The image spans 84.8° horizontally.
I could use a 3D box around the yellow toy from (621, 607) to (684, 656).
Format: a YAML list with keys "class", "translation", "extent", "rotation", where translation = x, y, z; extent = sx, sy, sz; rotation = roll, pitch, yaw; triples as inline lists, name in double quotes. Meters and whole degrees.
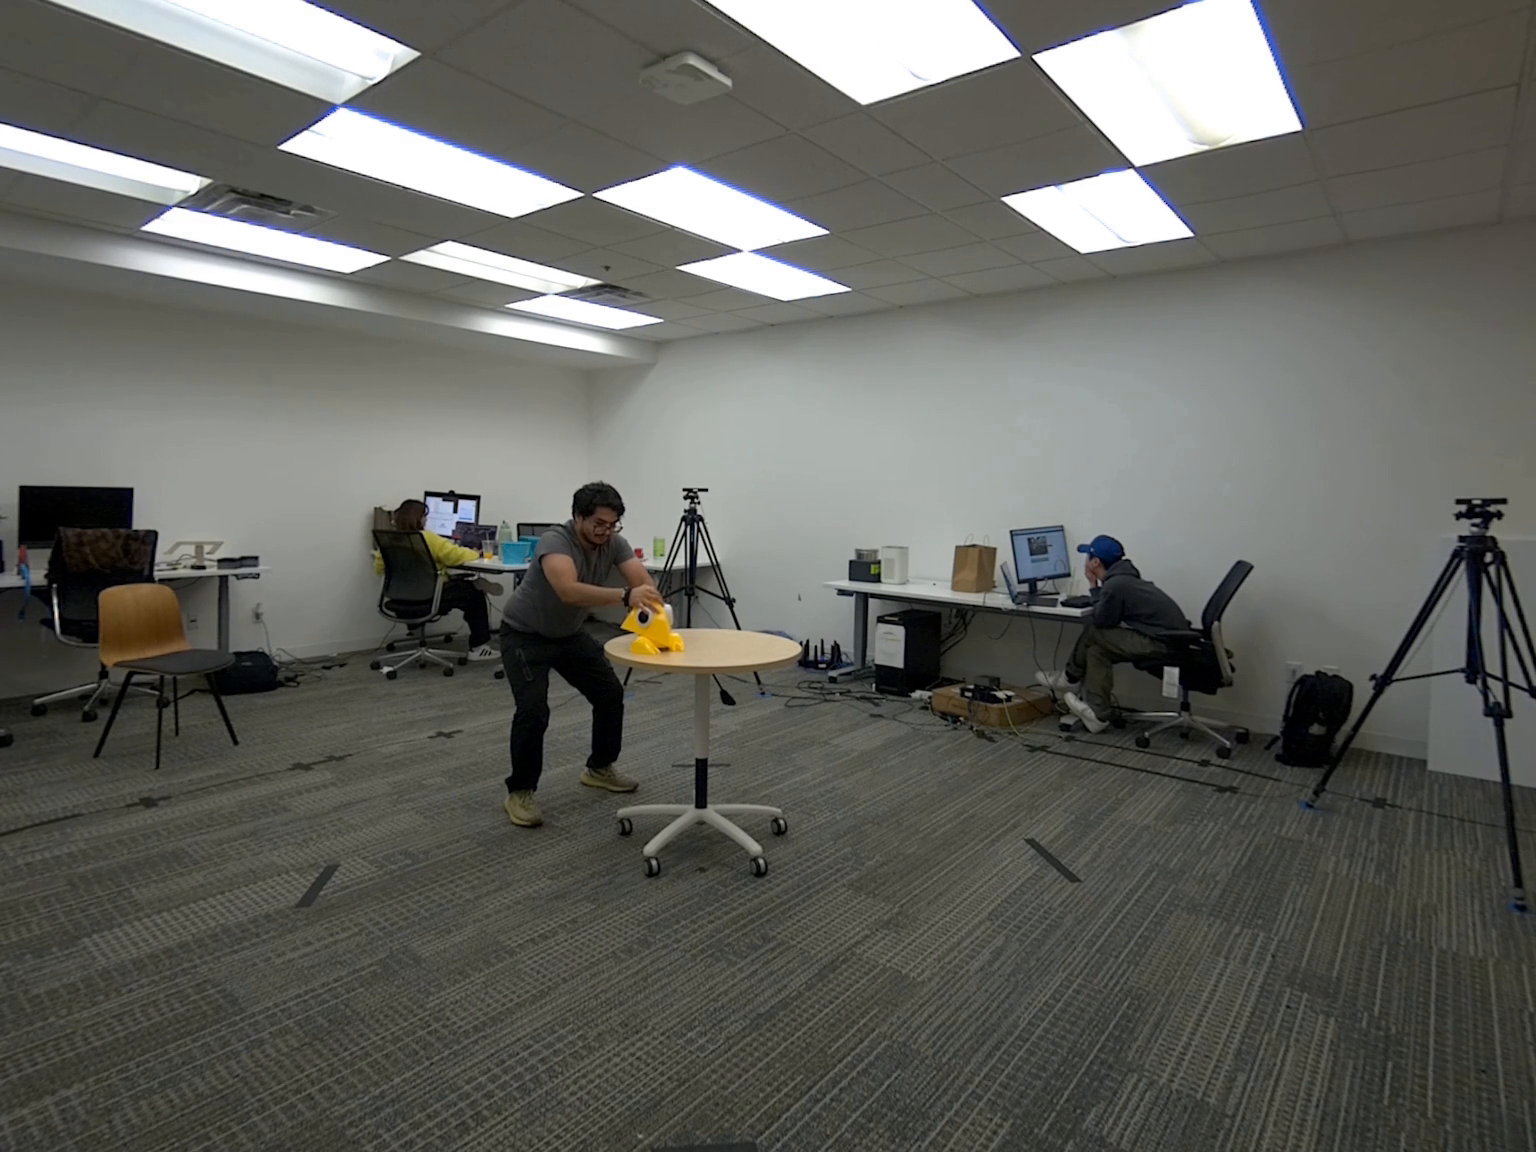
- class: "yellow toy"
  translation: [-0.435, 0.165, 3.227]
  extent: [0.199, 0.230, 0.199]
  rotation: [-4, 6, -37]
